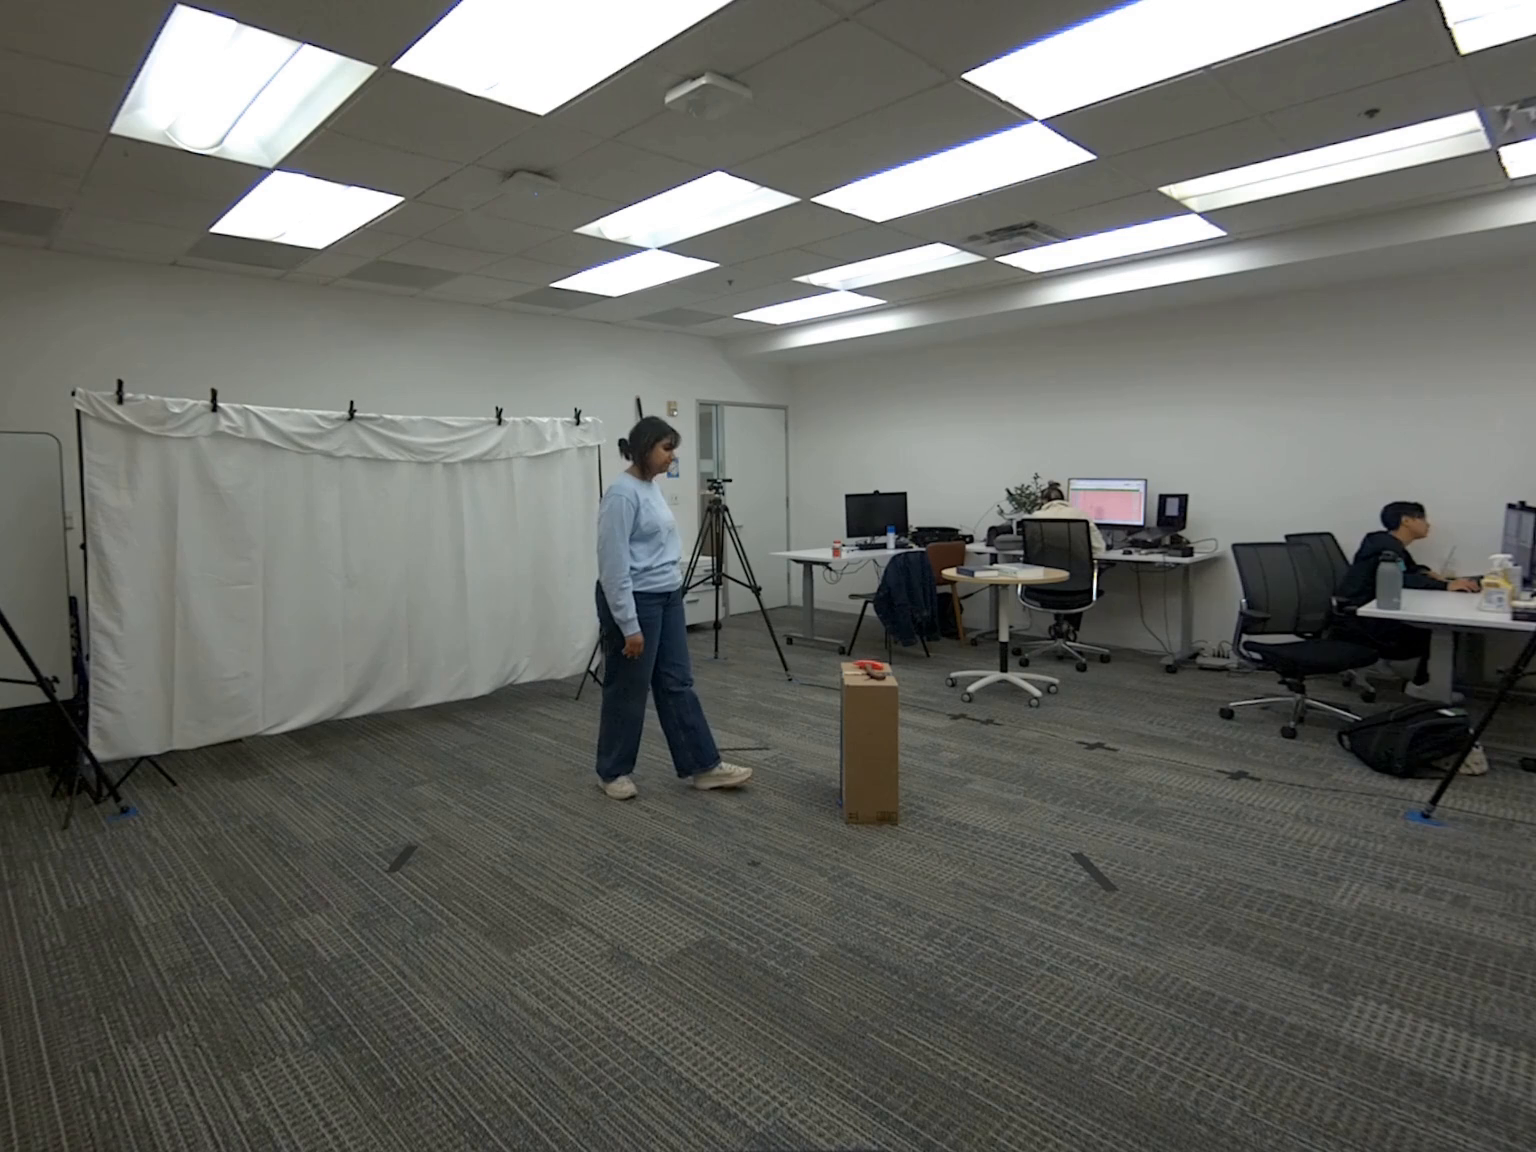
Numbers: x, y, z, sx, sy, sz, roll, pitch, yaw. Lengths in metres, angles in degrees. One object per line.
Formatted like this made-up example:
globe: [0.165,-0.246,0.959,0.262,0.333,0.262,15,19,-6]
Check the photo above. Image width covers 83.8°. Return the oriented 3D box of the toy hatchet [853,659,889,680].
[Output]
toy hatchet: [0.467,0.401,3.621,0.129,0.029,0.275,3,7,-17]
